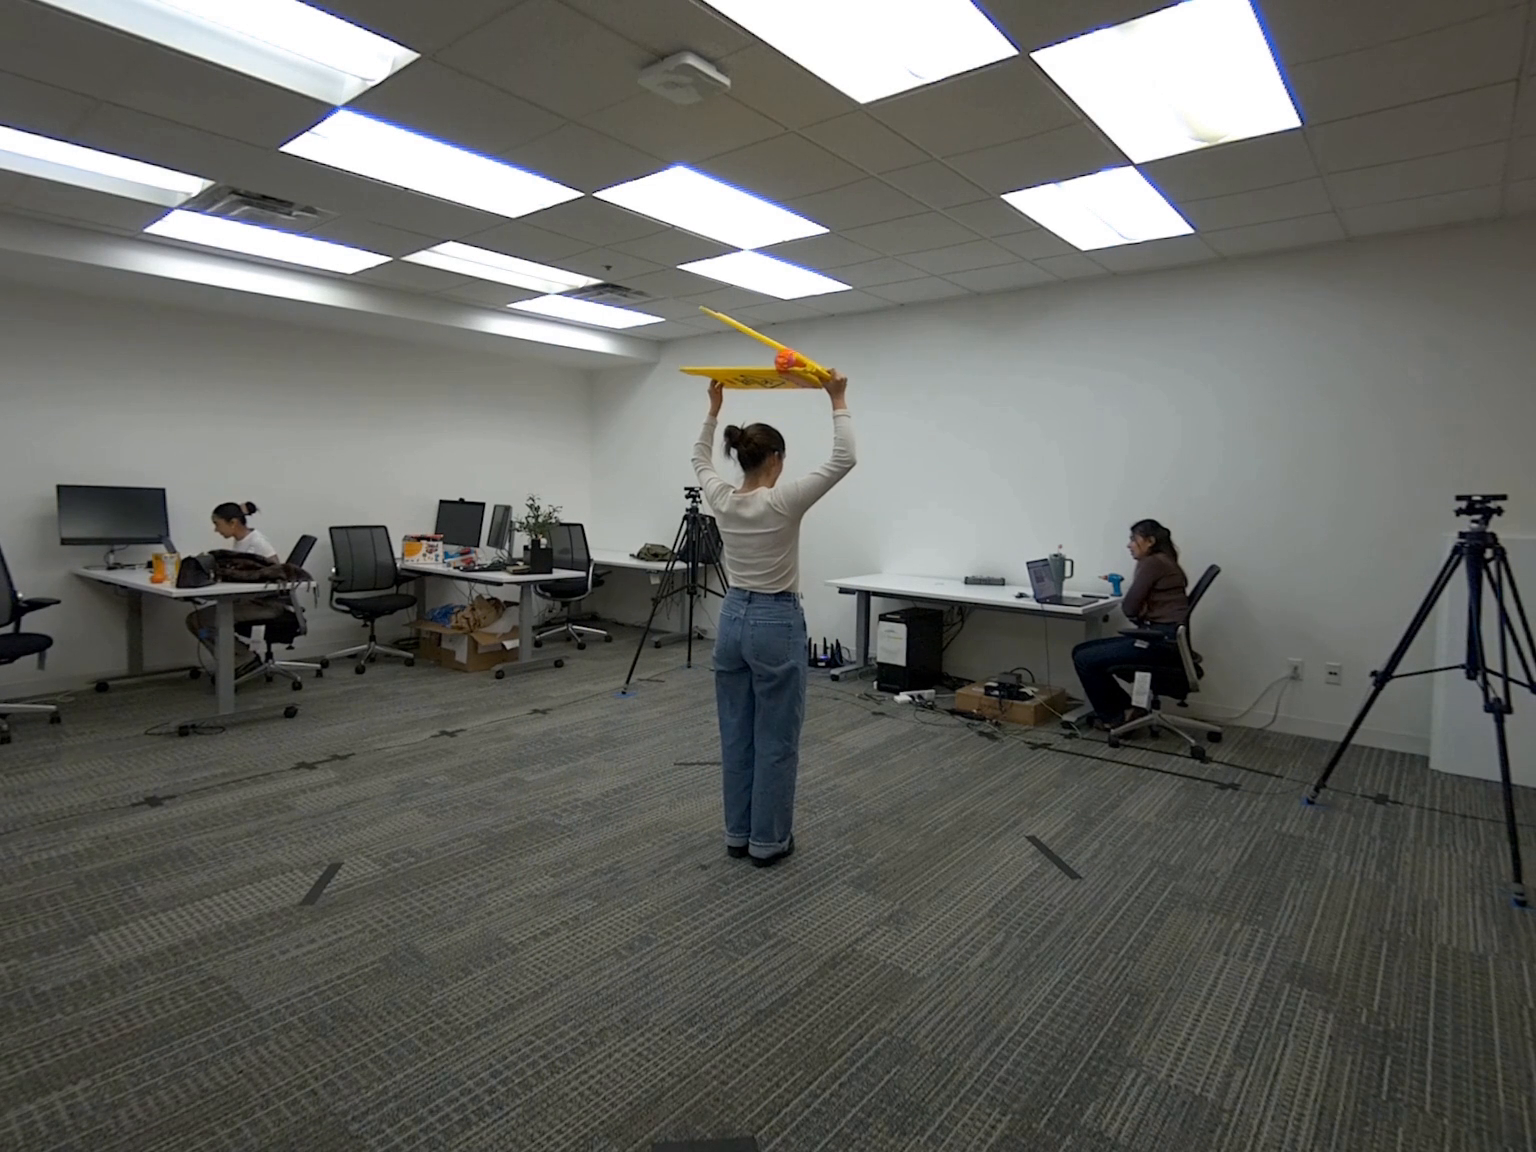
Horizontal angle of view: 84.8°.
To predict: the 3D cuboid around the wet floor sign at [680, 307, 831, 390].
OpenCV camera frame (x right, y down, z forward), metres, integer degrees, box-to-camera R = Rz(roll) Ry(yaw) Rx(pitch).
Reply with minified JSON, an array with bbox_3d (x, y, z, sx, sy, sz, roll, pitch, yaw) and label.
[{"bbox_3d":[0.002,-0.810,3.211,0.673,0.289,0.272,25,8,41],"label":"wet floor sign"}]
